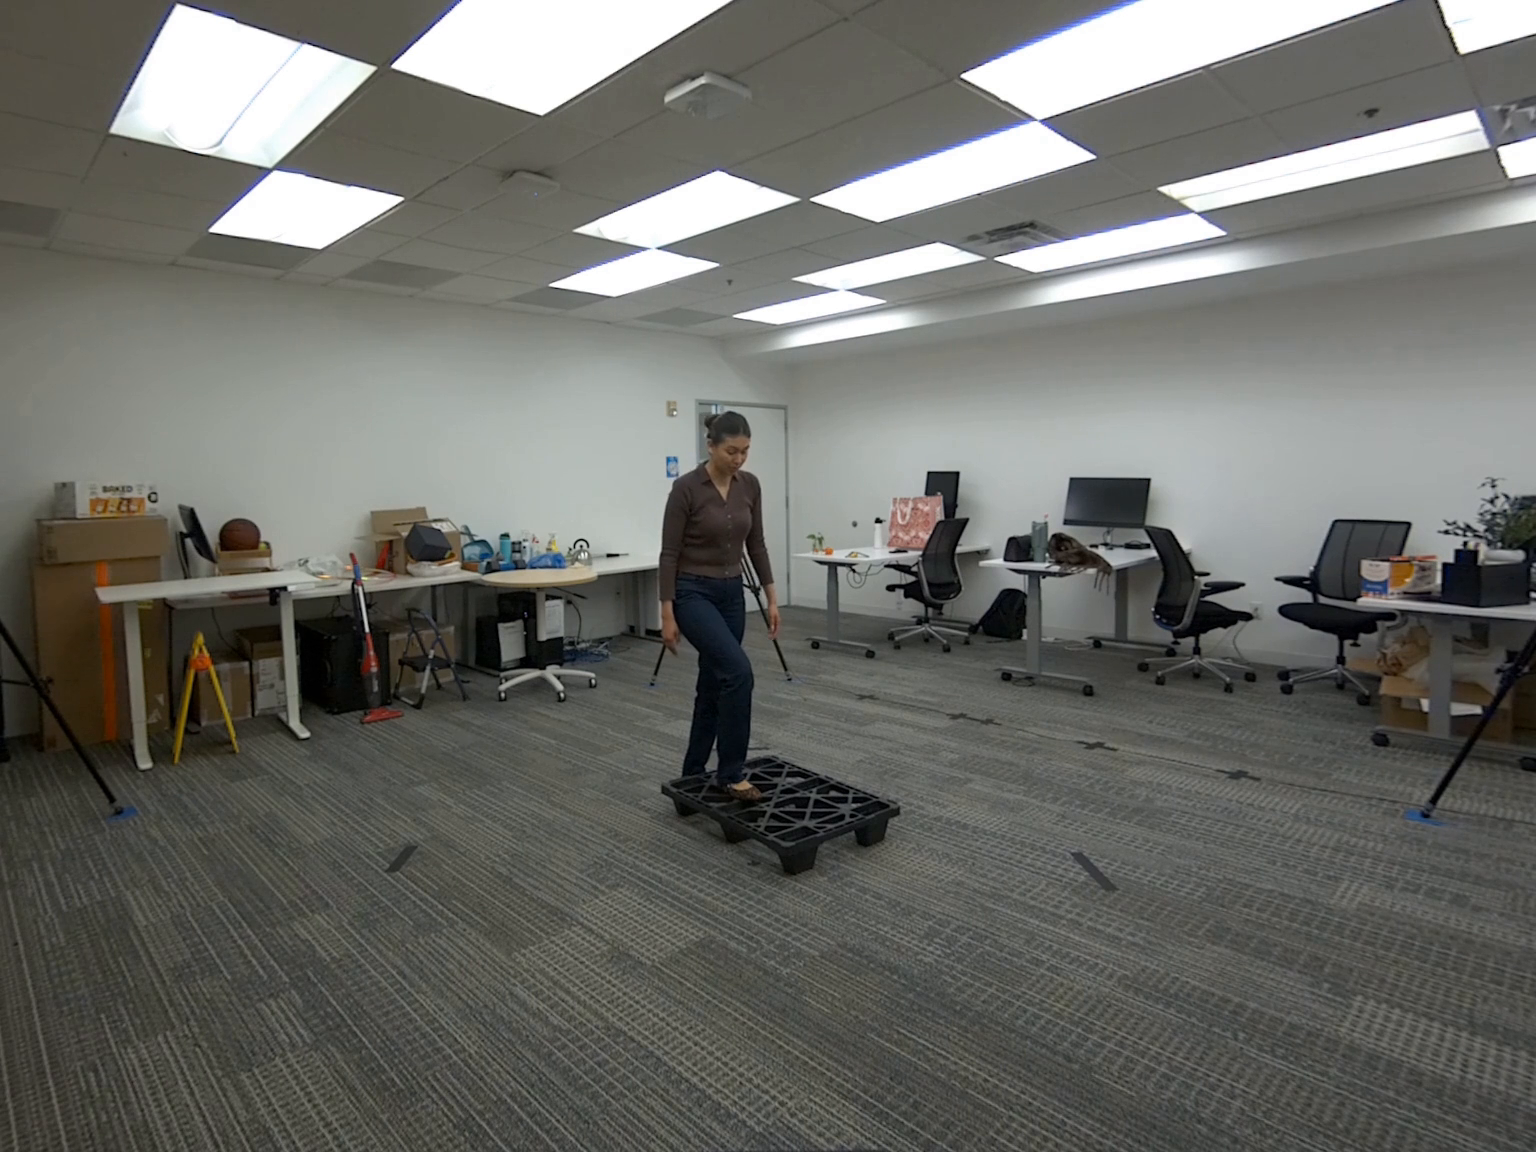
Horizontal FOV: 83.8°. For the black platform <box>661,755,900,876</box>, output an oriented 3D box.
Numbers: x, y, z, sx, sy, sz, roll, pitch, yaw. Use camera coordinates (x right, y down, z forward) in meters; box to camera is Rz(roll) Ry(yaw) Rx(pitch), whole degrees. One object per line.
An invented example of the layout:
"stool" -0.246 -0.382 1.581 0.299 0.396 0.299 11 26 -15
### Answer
"black platform" 0.033 0.941 3.422 0.590 0.142 0.830 -7 8 -38
